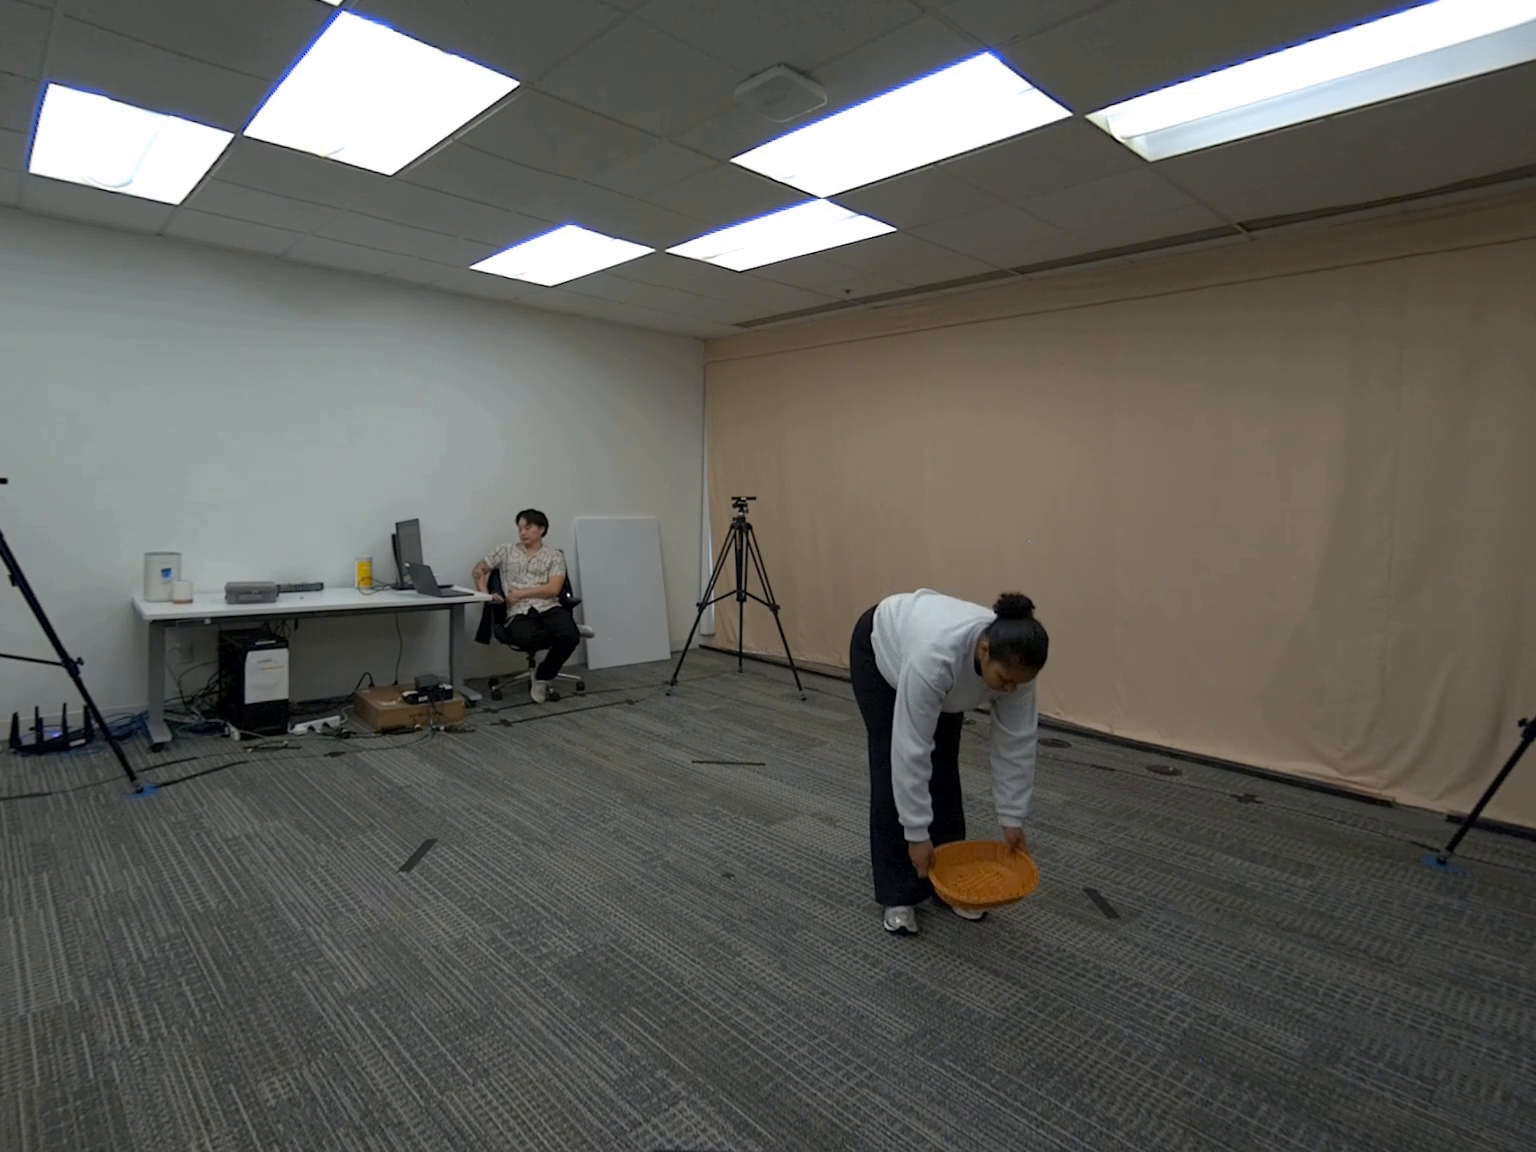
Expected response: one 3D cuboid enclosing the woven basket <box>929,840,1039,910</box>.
[{"bbox_3d":[0.643,0.917,2.559,0.346,0.072,0.259,-6,21,-17],"label":"woven basket"}]
